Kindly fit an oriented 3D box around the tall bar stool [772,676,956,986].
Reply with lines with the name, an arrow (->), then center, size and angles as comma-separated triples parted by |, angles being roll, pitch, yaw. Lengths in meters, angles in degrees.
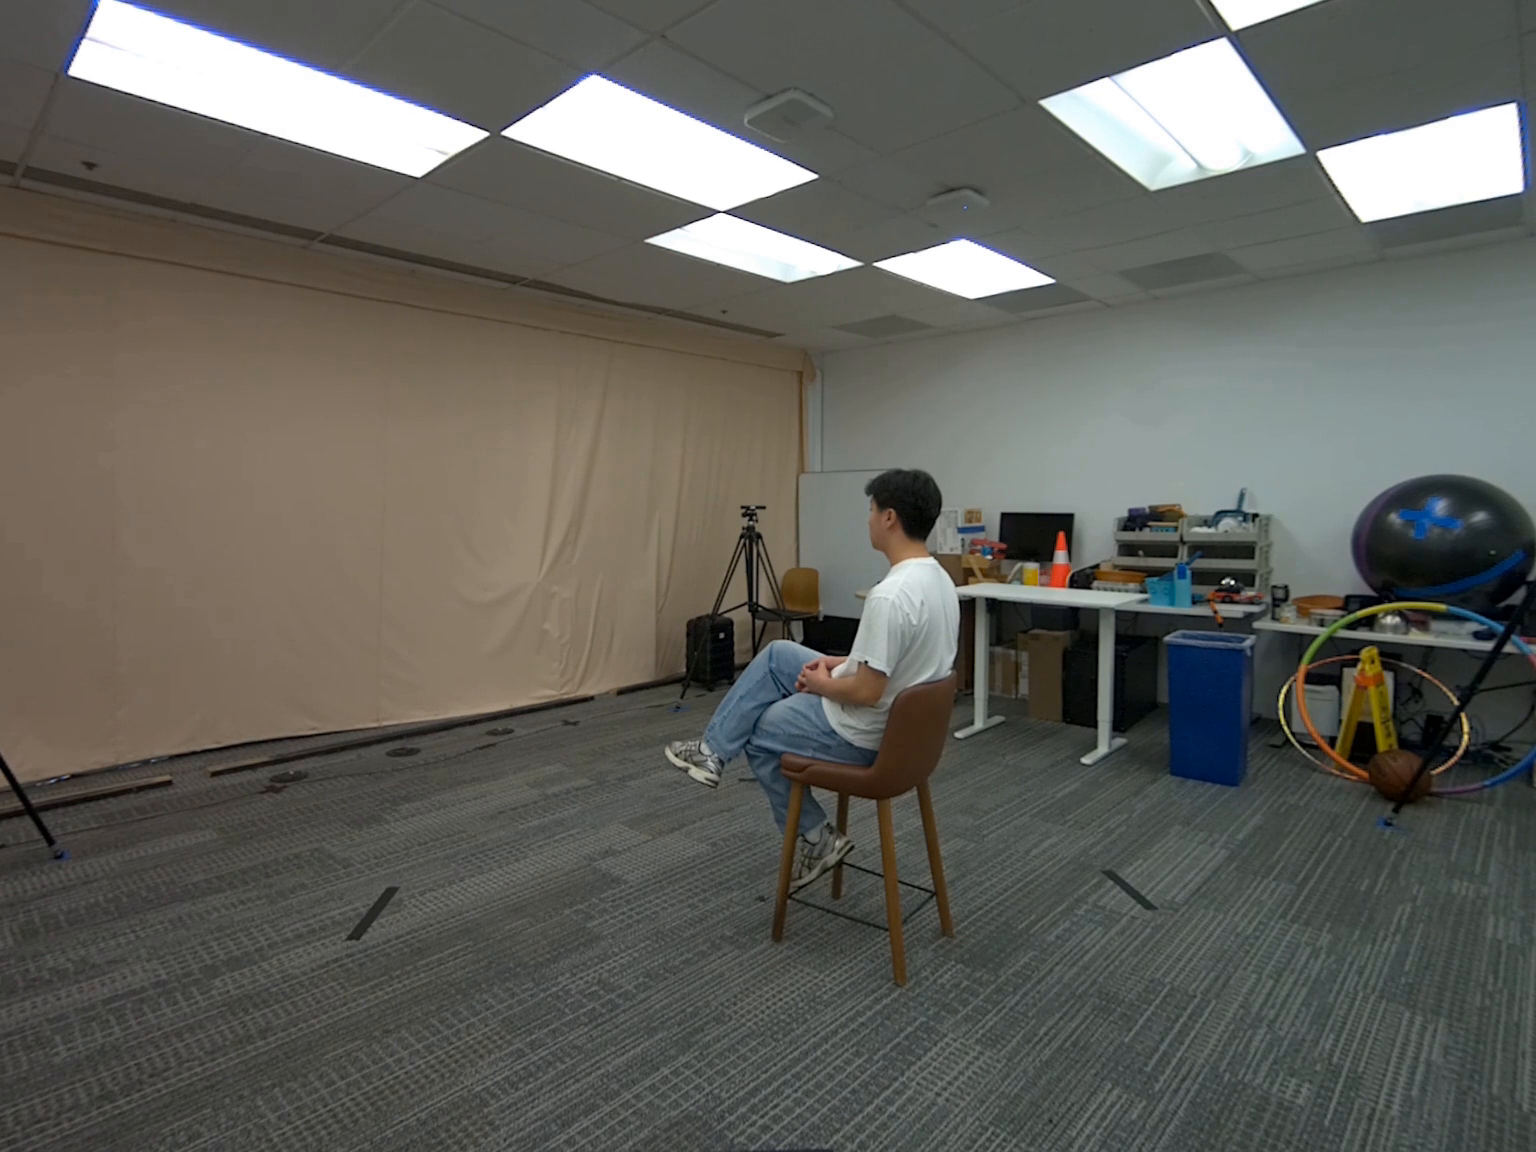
tall bar stool -> 0.323, 0.737, 2.682 | 0.483, 0.887, 0.443 | 5, 7, 36
